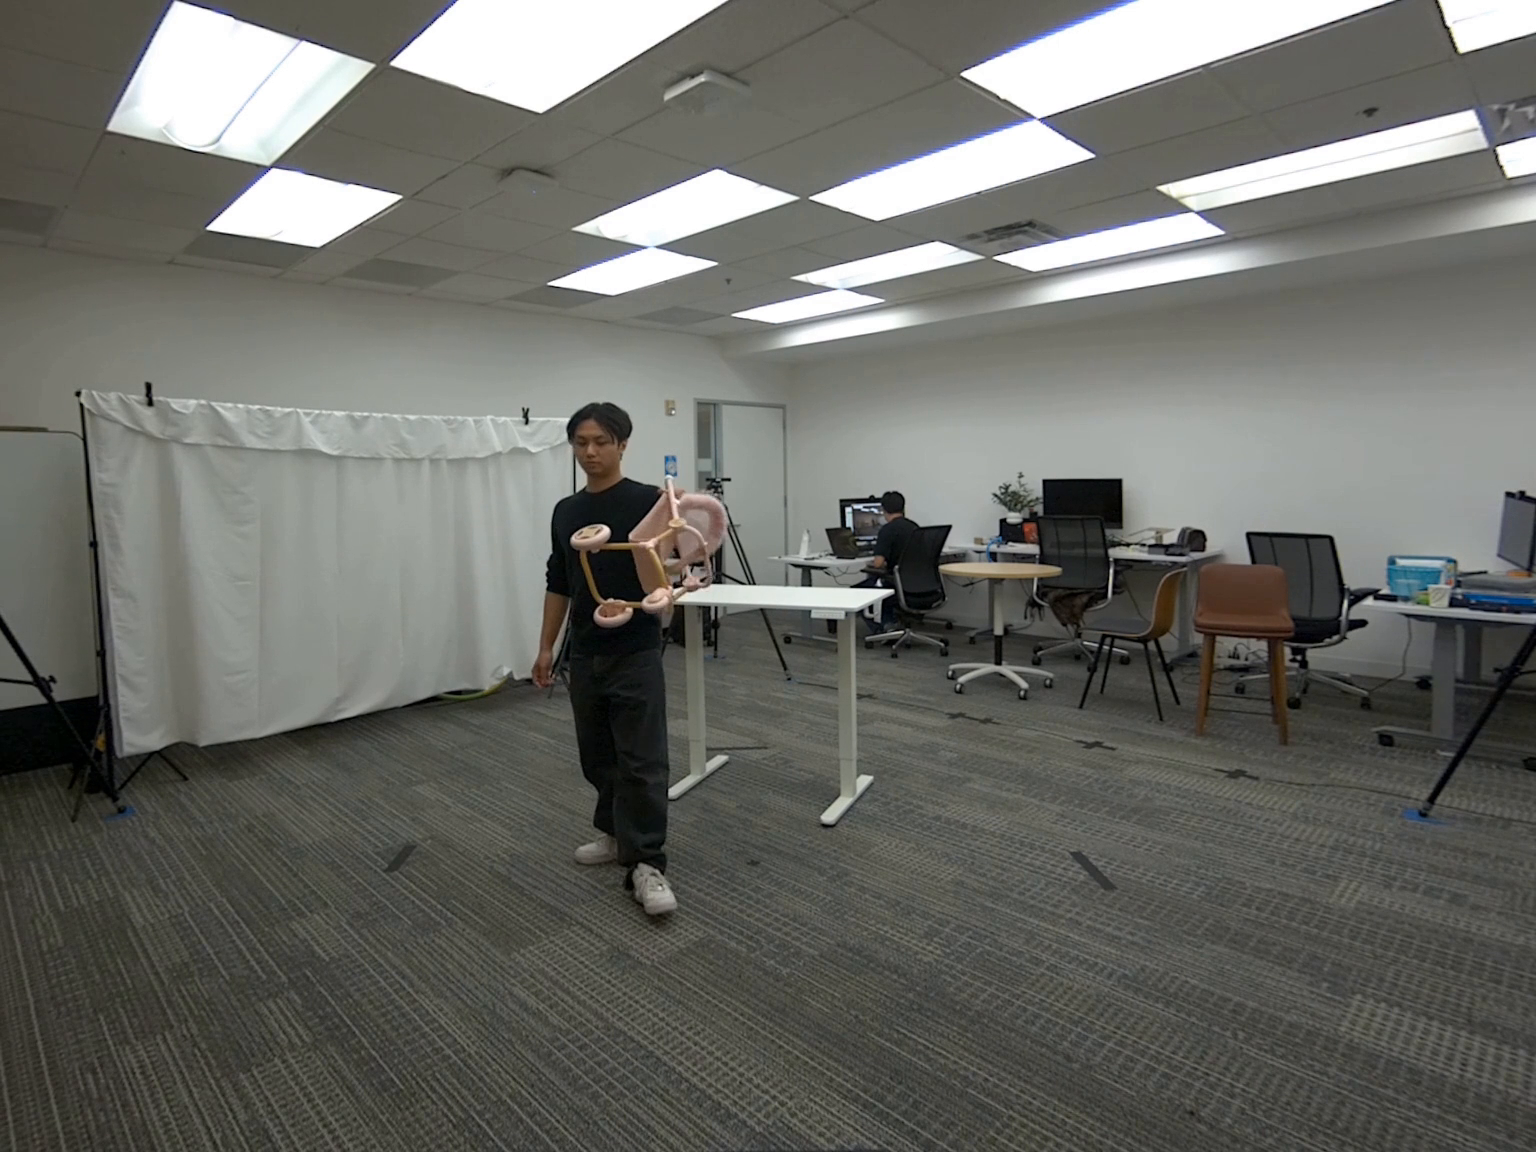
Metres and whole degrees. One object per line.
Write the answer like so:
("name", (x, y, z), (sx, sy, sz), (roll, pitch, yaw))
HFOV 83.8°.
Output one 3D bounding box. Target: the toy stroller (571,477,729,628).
("toy stroller", (-0.285, -0.073, 2.394), (0.351, 0.274, 0.534), (4, 32, 32))
